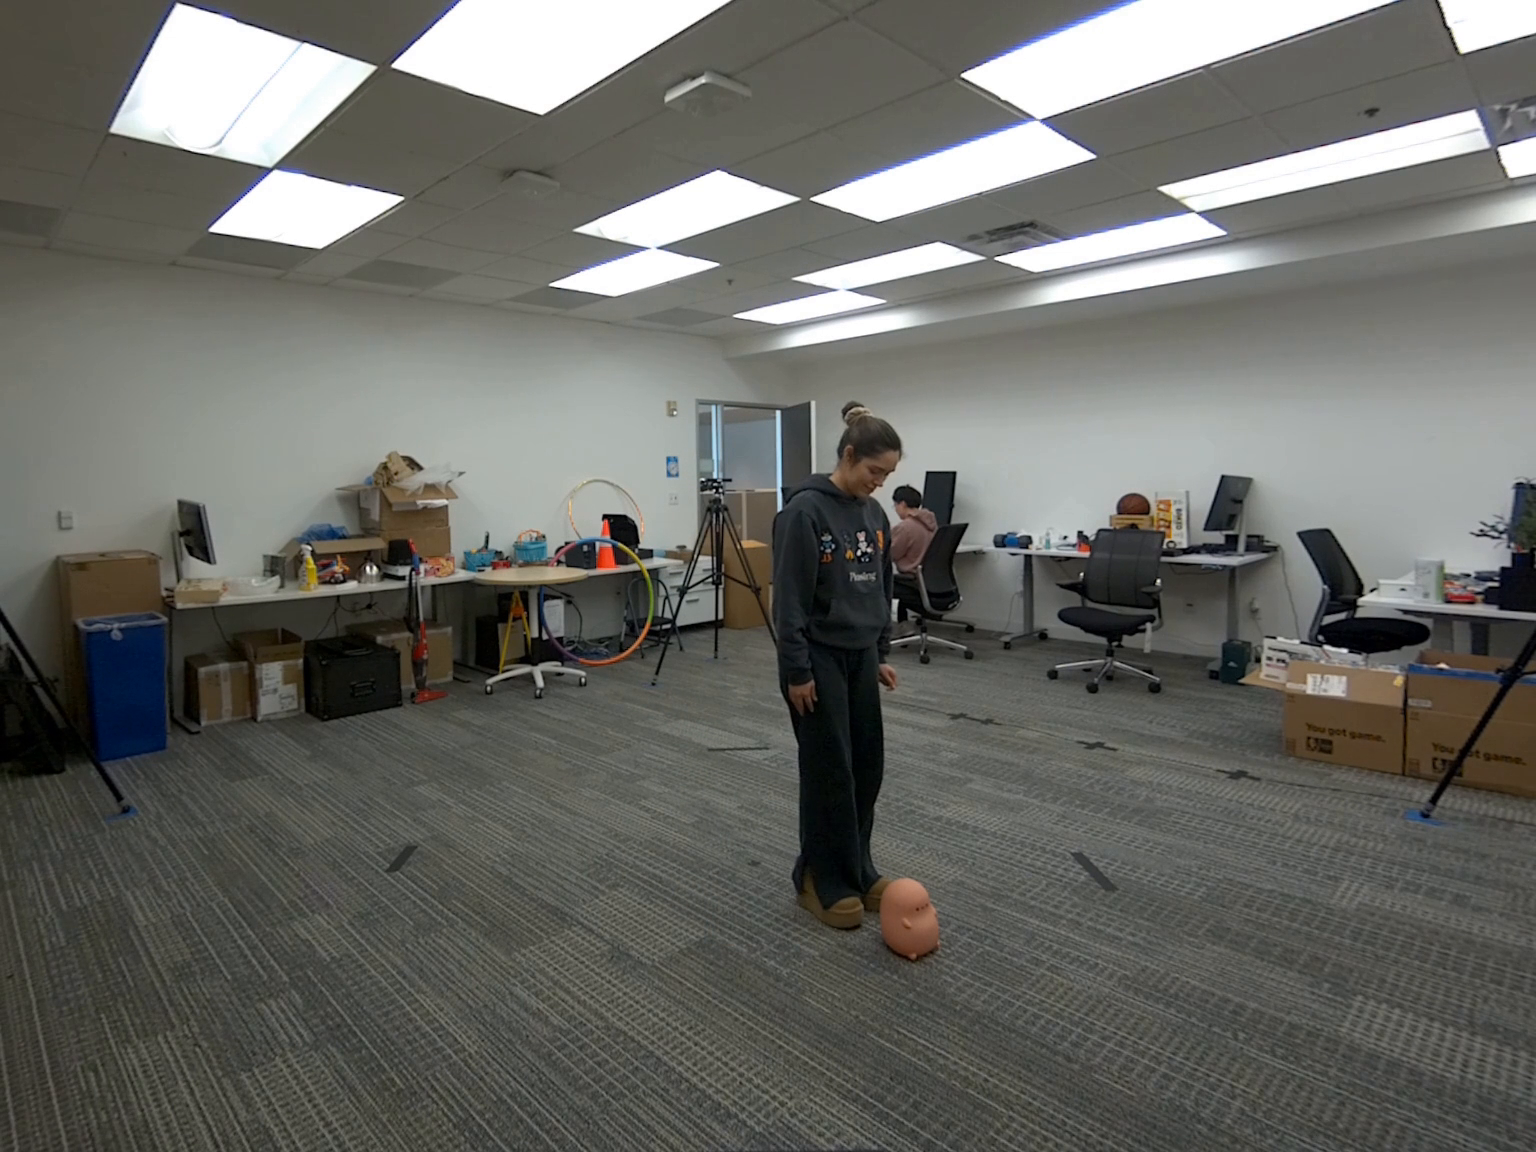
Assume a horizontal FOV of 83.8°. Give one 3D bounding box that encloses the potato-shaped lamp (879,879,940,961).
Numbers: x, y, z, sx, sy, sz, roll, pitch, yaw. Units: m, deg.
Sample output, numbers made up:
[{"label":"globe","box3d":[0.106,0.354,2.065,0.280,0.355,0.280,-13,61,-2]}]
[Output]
[{"label":"potato-shaped lamp","box3d":[0.424,1.005,2.518,0.160,0.198,0.176,-3,2,-37]}]
